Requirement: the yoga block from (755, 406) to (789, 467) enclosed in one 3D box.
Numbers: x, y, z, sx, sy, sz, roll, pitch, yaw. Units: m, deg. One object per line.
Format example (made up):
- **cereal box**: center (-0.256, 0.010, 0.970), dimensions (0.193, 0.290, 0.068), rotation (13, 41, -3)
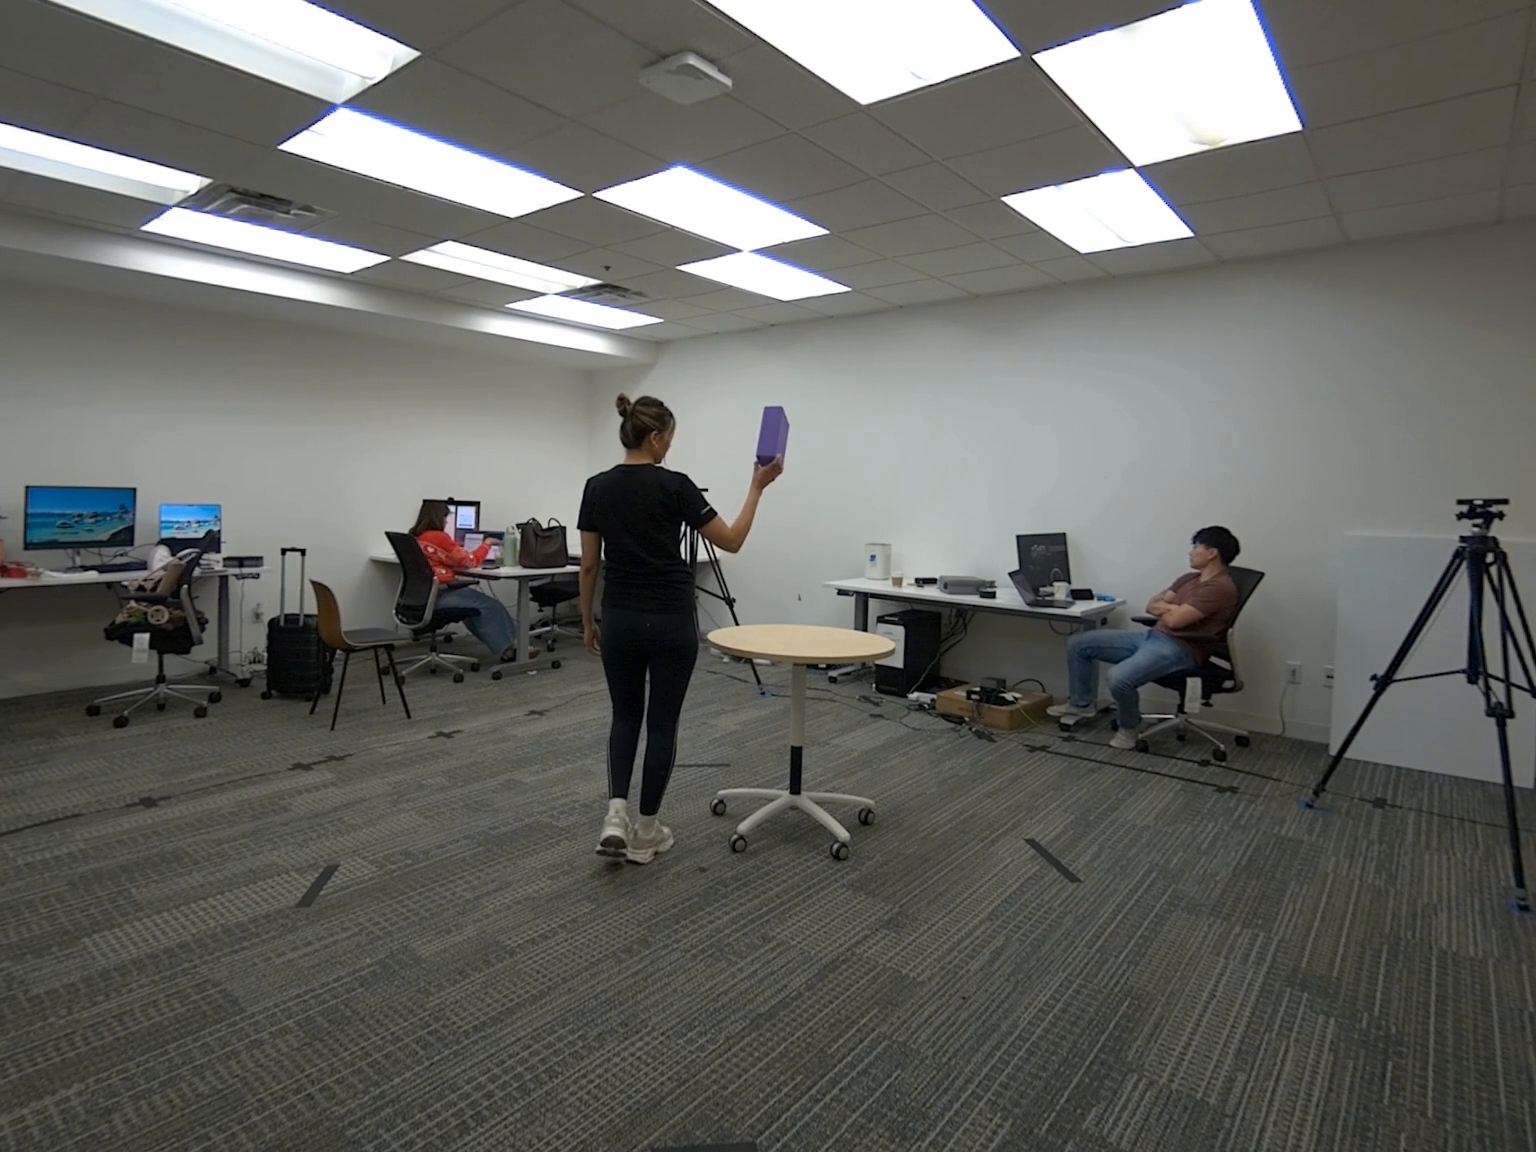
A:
- **yoga block**: center (0.011, -0.532, 3.291), dimensions (0.078, 0.233, 0.144), rotation (4, -21, 14)
